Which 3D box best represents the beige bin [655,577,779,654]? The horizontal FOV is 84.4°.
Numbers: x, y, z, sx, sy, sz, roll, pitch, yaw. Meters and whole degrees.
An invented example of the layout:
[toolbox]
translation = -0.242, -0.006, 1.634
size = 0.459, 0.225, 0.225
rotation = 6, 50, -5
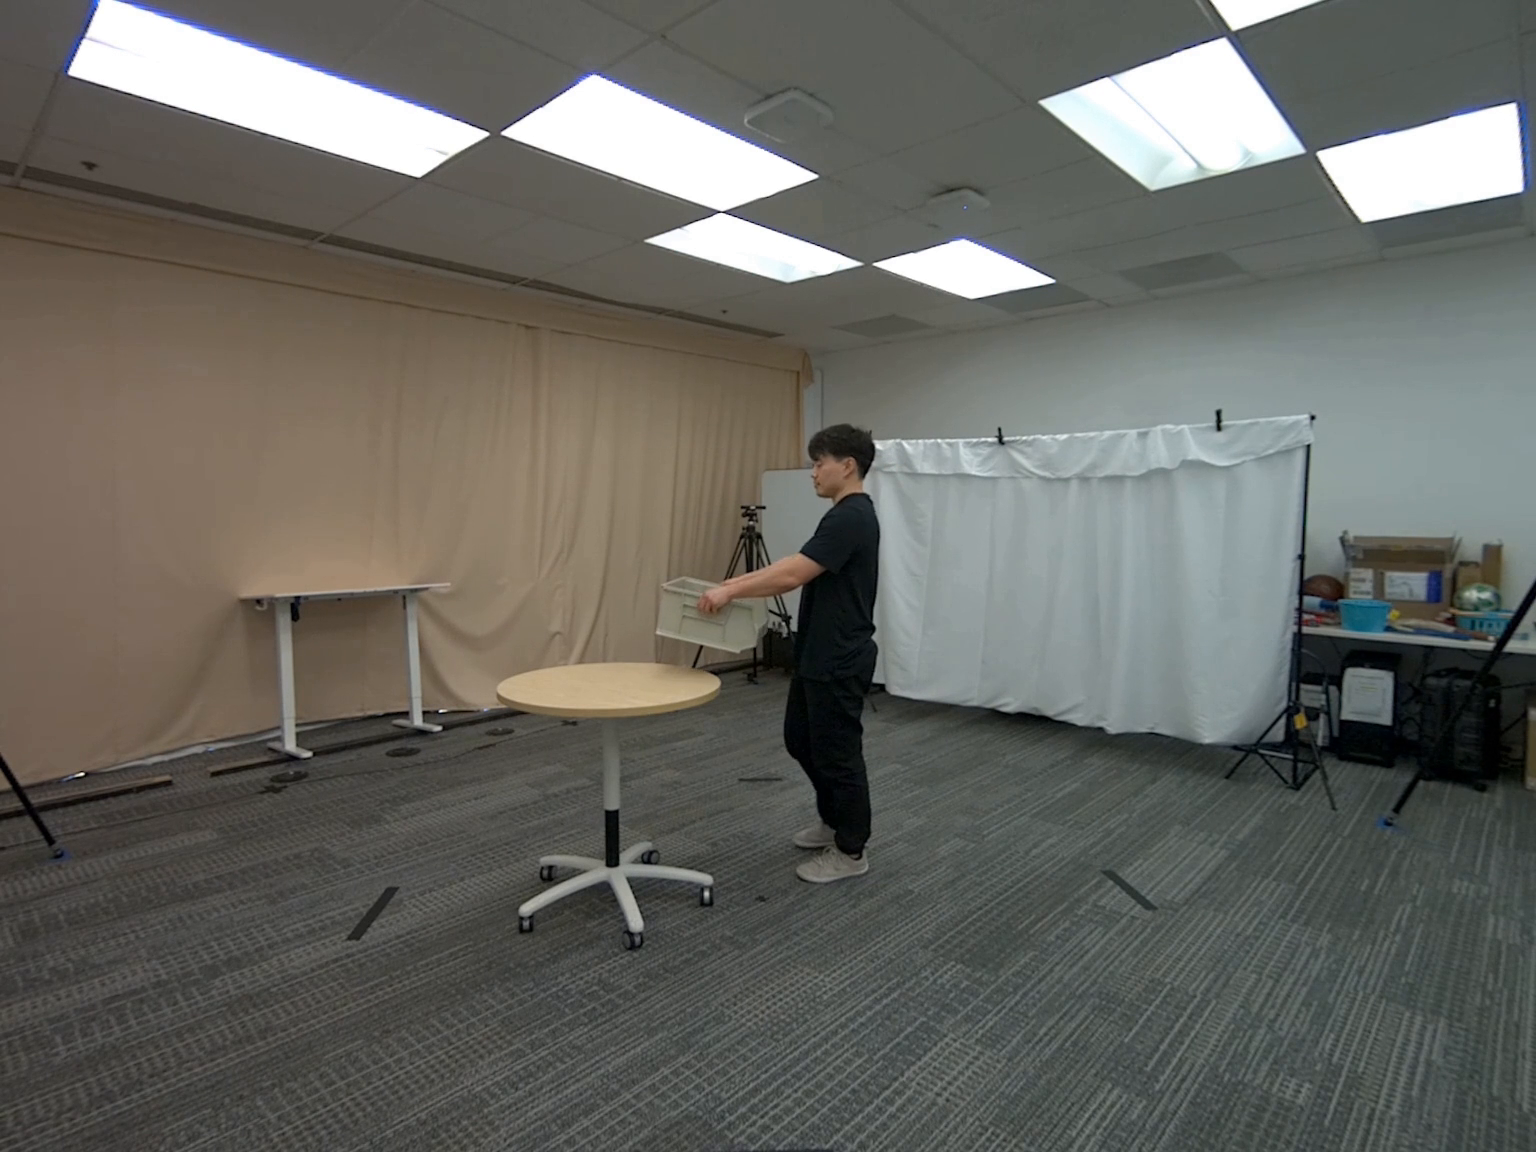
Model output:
[beige bin]
translation = -0.194, 0.153, 3.201
size = 0.380, 0.188, 0.420
rotation = 10, 5, 5
